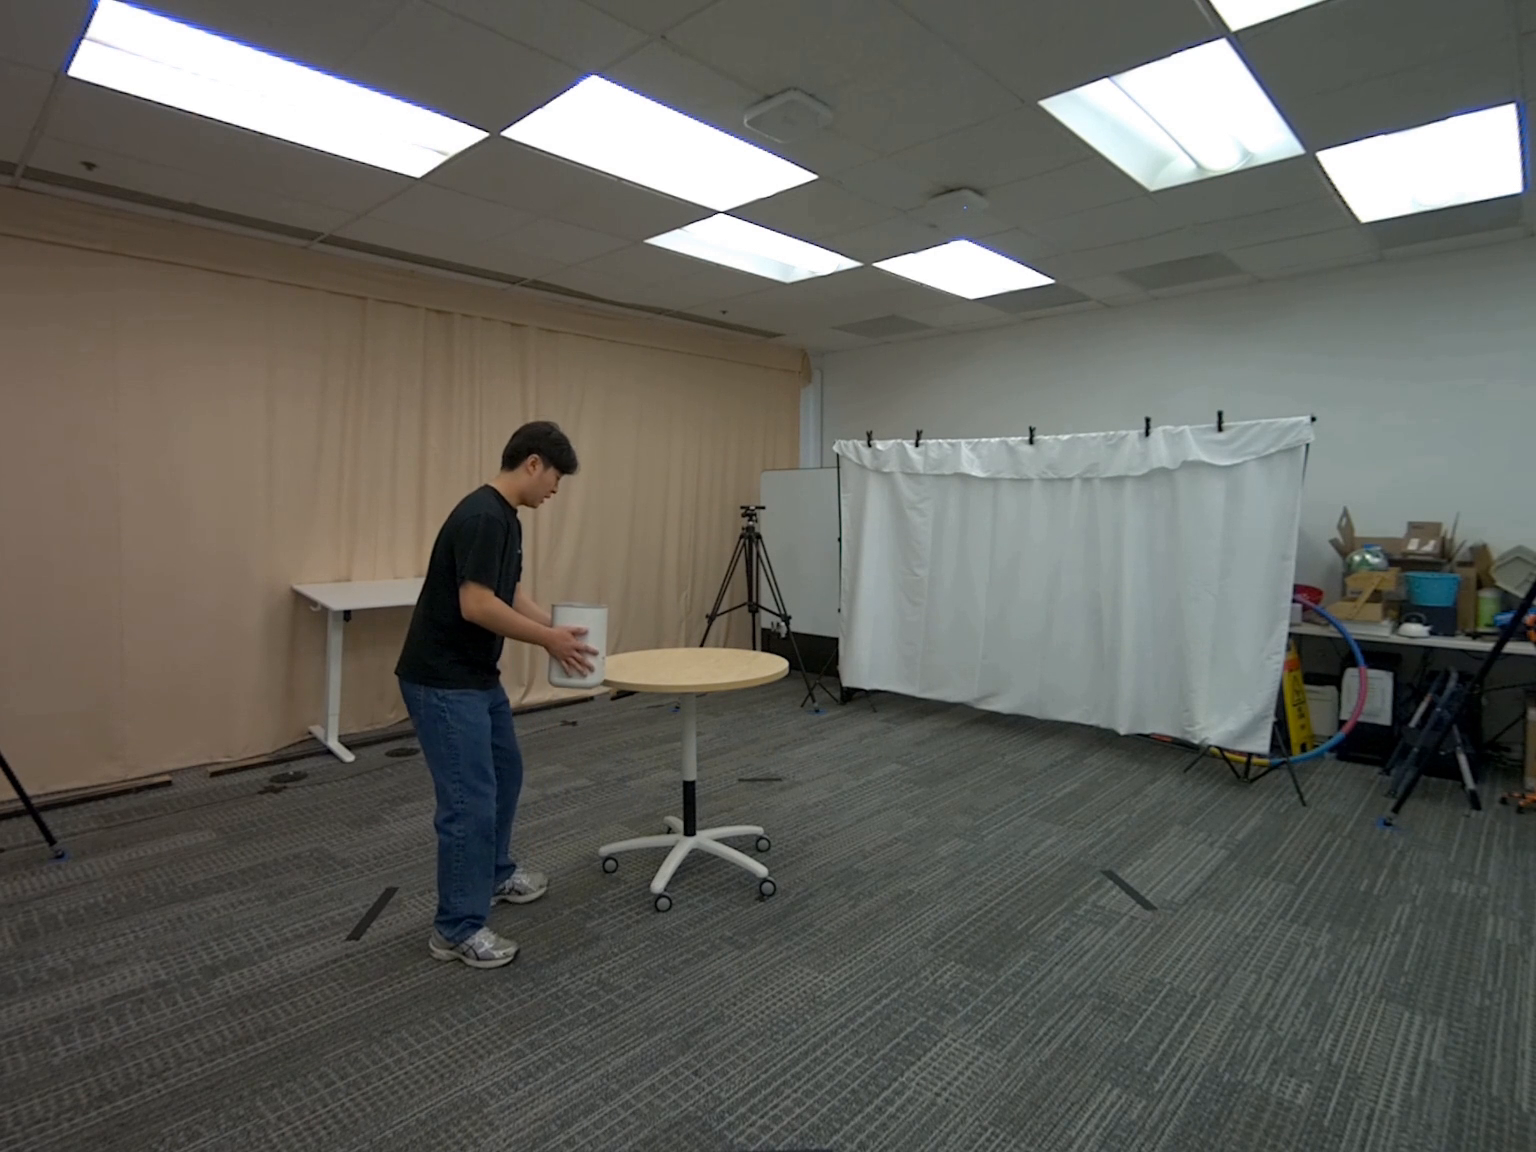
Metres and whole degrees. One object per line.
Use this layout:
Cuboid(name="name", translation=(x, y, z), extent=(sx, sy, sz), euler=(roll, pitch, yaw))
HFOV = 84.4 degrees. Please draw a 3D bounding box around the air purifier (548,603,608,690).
Cuboid(name="air purifier", translation=(-0.630, 0.231, 2.734), extent=(0.170, 0.265, 0.172), euler=(3, -1, -9))
